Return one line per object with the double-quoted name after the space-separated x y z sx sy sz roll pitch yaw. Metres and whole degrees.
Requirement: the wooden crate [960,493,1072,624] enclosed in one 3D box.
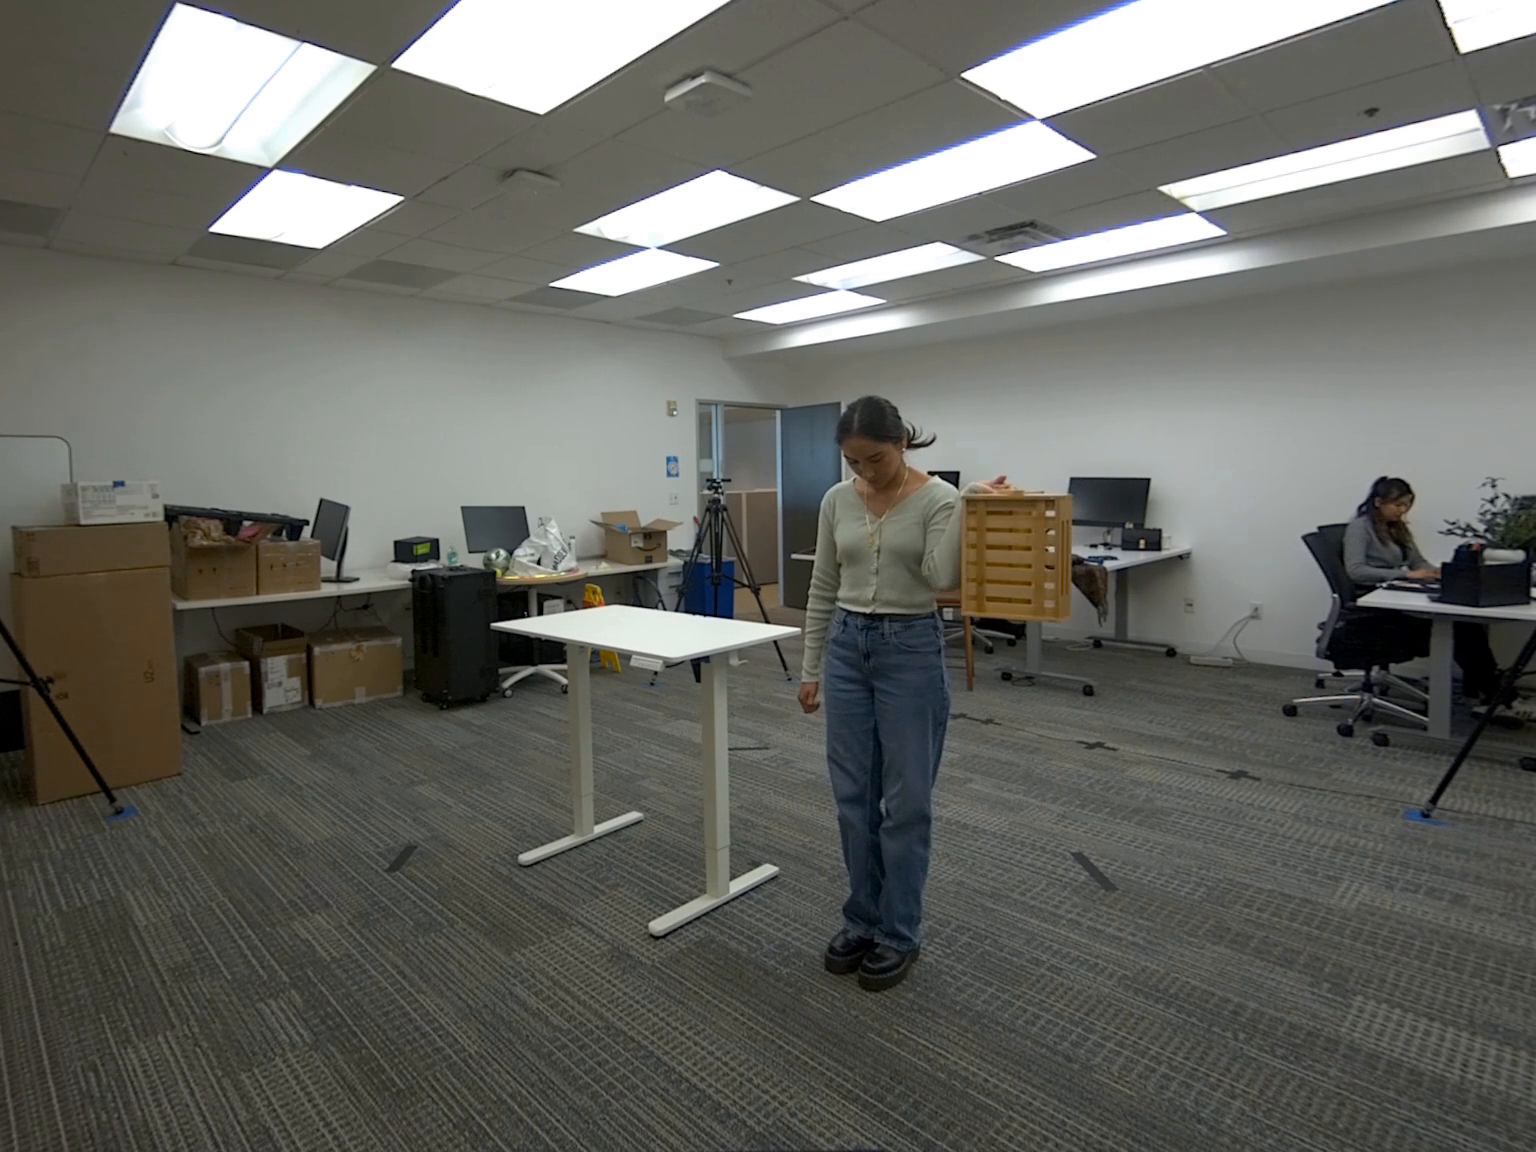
0.637 -0.063 2.193 0.310 0.323 0.268 2 6 28 "wooden crate"
